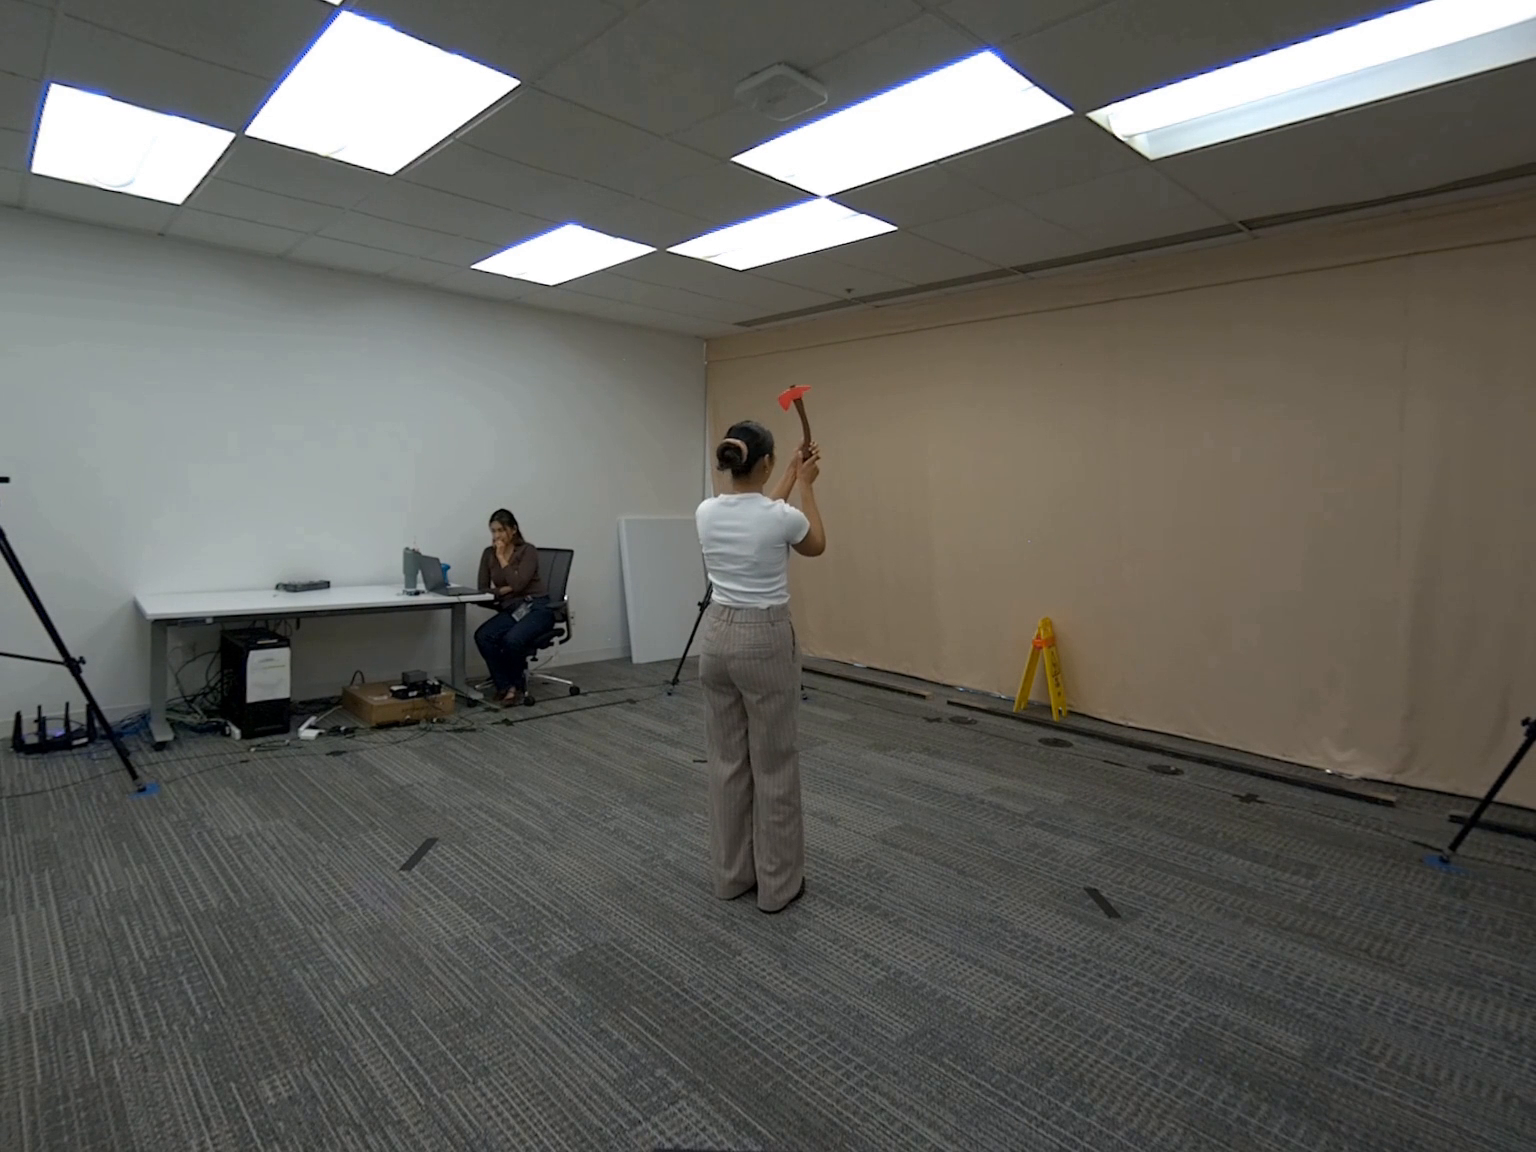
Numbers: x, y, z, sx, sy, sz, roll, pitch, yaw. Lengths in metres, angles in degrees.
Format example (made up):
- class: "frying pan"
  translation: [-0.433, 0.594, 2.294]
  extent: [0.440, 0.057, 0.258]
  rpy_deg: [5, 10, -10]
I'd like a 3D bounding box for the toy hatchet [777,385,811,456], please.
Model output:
- class: "toy hatchet"
  translation: [0.096, -0.562, 3.053]
  extent: [0.129, 0.269, 0.030]
  rpy_deg: [-2, 4, -15]
